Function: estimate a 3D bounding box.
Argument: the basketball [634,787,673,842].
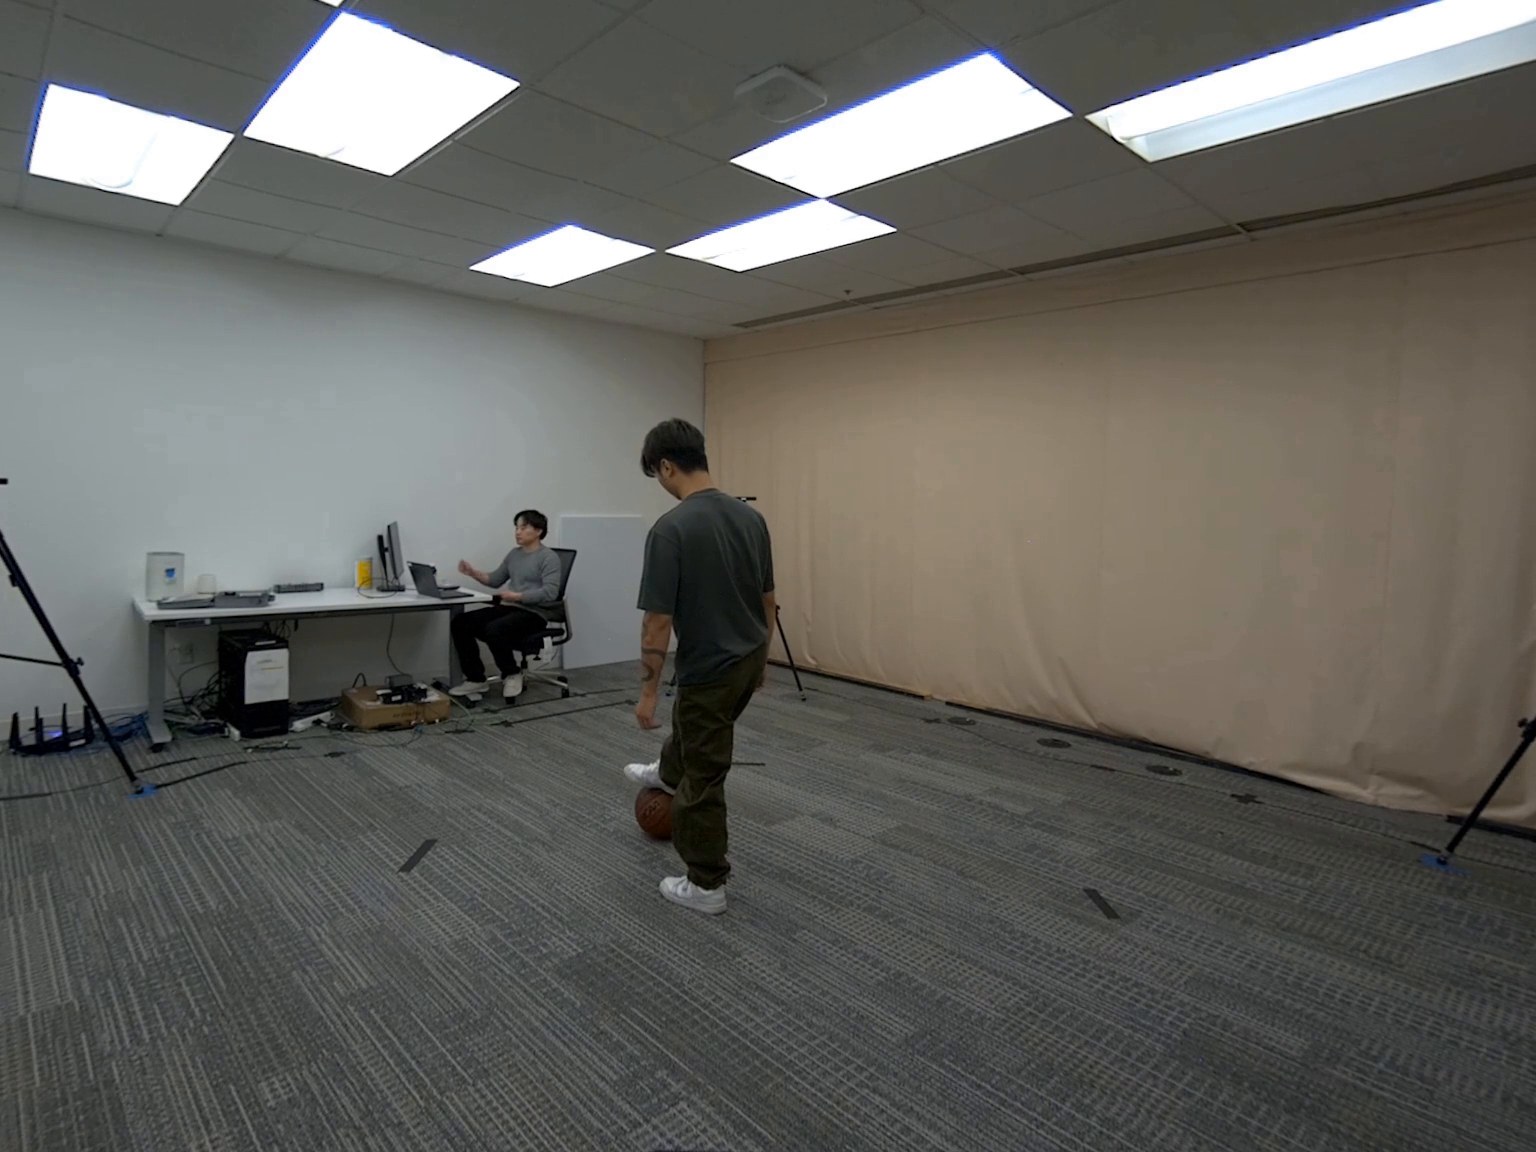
[{"bbox_3d":[-0.434,0.952,3.452,0.236,0.235,0.237,1,4,-1],"label":"basketball"}]
